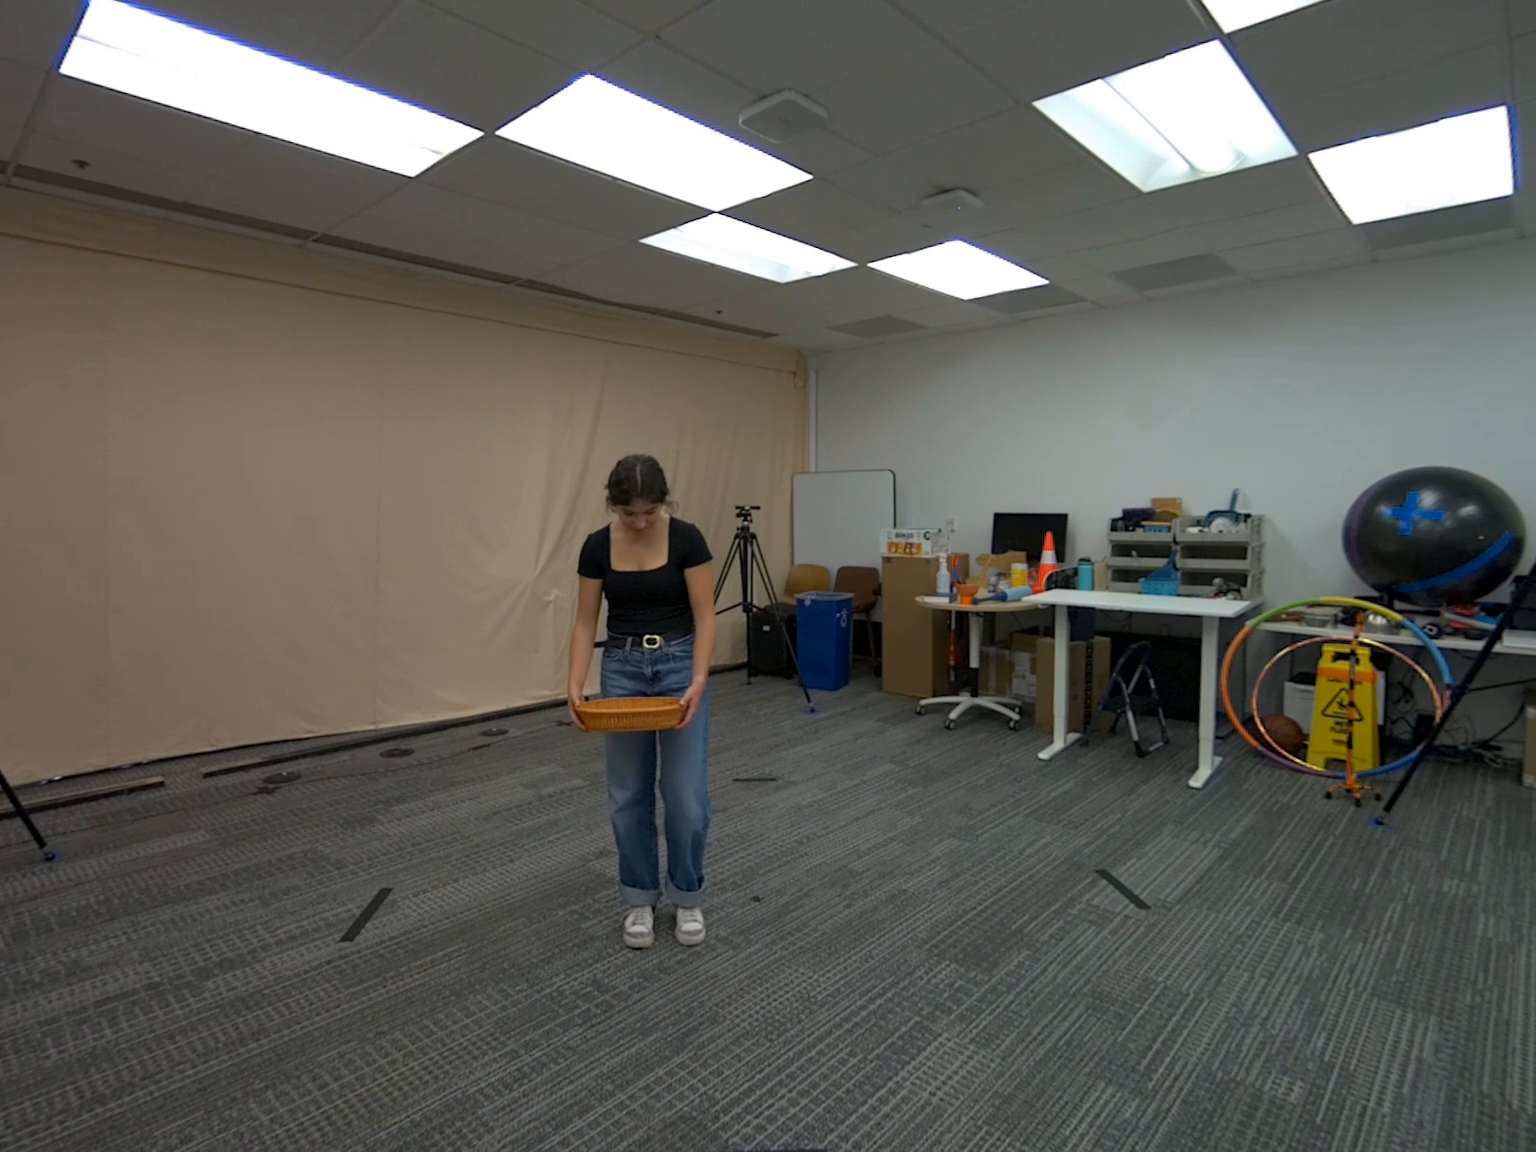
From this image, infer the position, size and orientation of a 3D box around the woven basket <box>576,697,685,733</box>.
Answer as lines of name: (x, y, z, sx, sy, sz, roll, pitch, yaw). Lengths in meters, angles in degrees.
woven basket: (-0.409, 0.424, 2.561, 0.352, 0.073, 0.251, -3, 1, 4)
